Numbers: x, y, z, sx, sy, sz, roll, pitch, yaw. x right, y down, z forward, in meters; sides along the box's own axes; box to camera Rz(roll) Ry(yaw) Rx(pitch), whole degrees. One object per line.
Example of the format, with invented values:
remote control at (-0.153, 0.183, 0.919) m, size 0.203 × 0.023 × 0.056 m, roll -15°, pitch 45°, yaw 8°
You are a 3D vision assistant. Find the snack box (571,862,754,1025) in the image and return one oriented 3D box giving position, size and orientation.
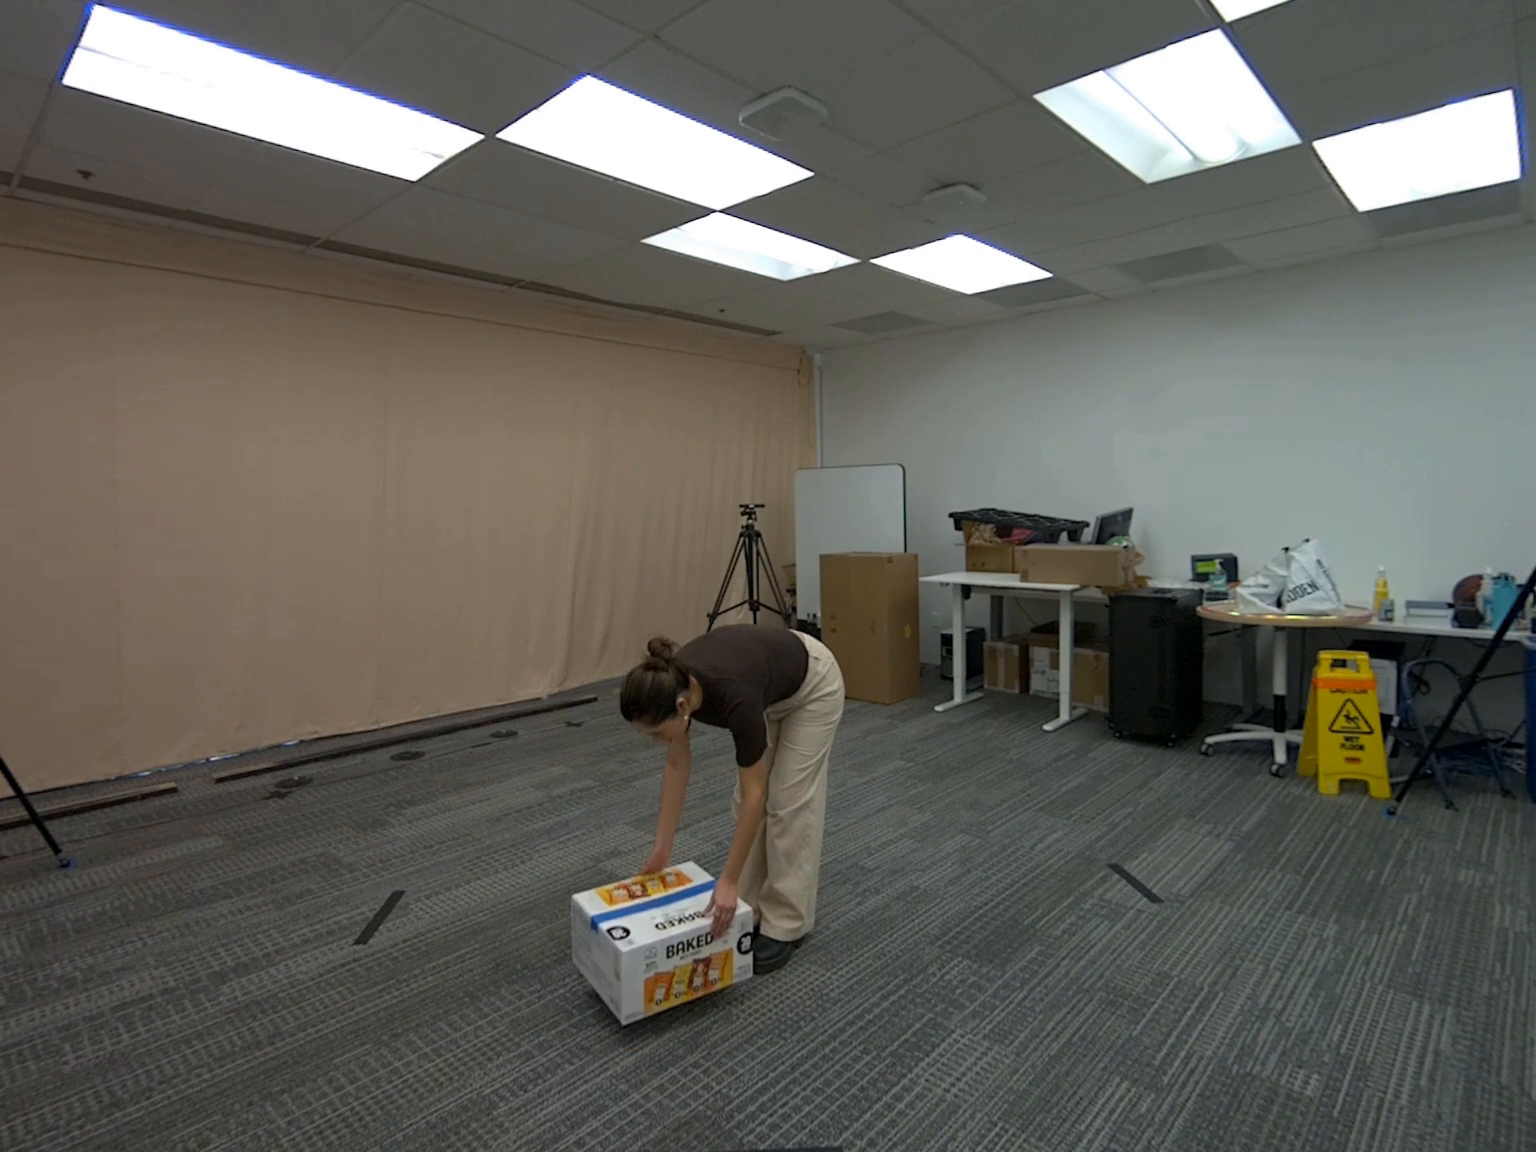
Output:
snack box at (-0.302, 1.005, 2.370) m, size 0.394 × 0.205 × 0.351 m, roll -4°, pitch 7°, yaw -33°
